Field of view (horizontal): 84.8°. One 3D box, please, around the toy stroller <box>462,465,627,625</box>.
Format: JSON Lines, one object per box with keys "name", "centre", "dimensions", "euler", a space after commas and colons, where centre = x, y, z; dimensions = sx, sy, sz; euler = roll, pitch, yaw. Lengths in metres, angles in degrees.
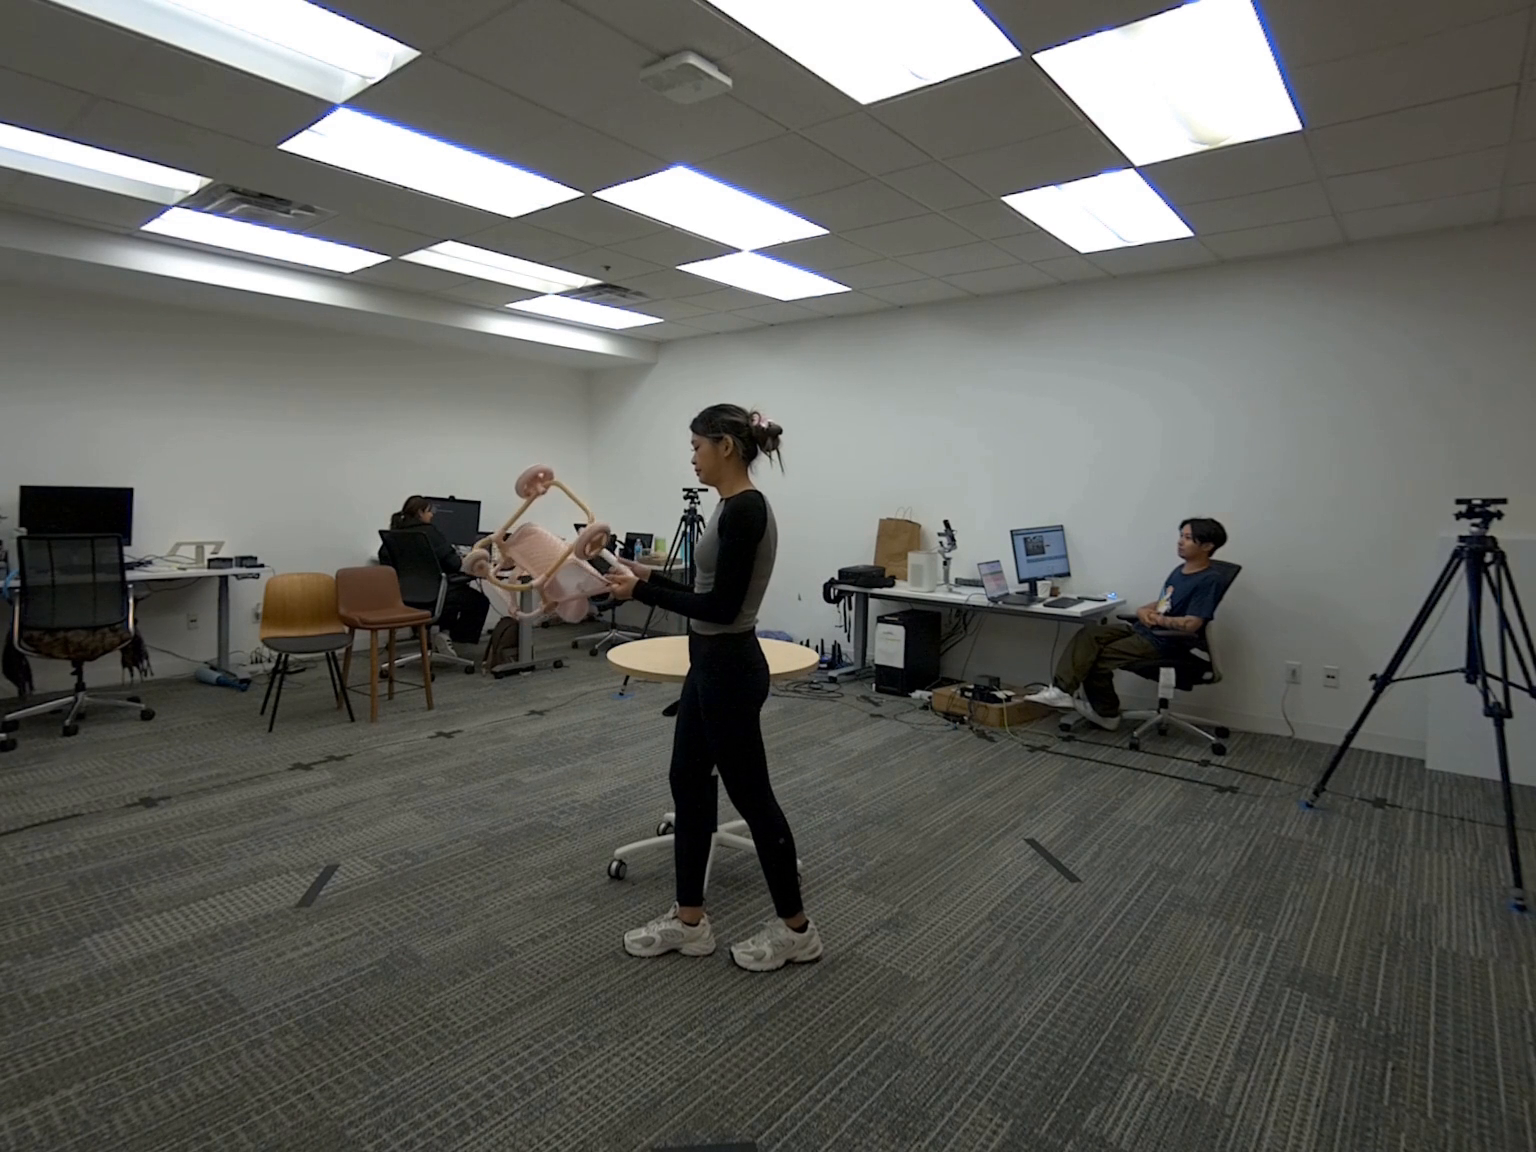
{"name": "toy stroller", "centre": [-0.584, -0.034, 2.255], "dimensions": [0.290, 0.341, 0.519], "euler": [38, -15, 21]}
